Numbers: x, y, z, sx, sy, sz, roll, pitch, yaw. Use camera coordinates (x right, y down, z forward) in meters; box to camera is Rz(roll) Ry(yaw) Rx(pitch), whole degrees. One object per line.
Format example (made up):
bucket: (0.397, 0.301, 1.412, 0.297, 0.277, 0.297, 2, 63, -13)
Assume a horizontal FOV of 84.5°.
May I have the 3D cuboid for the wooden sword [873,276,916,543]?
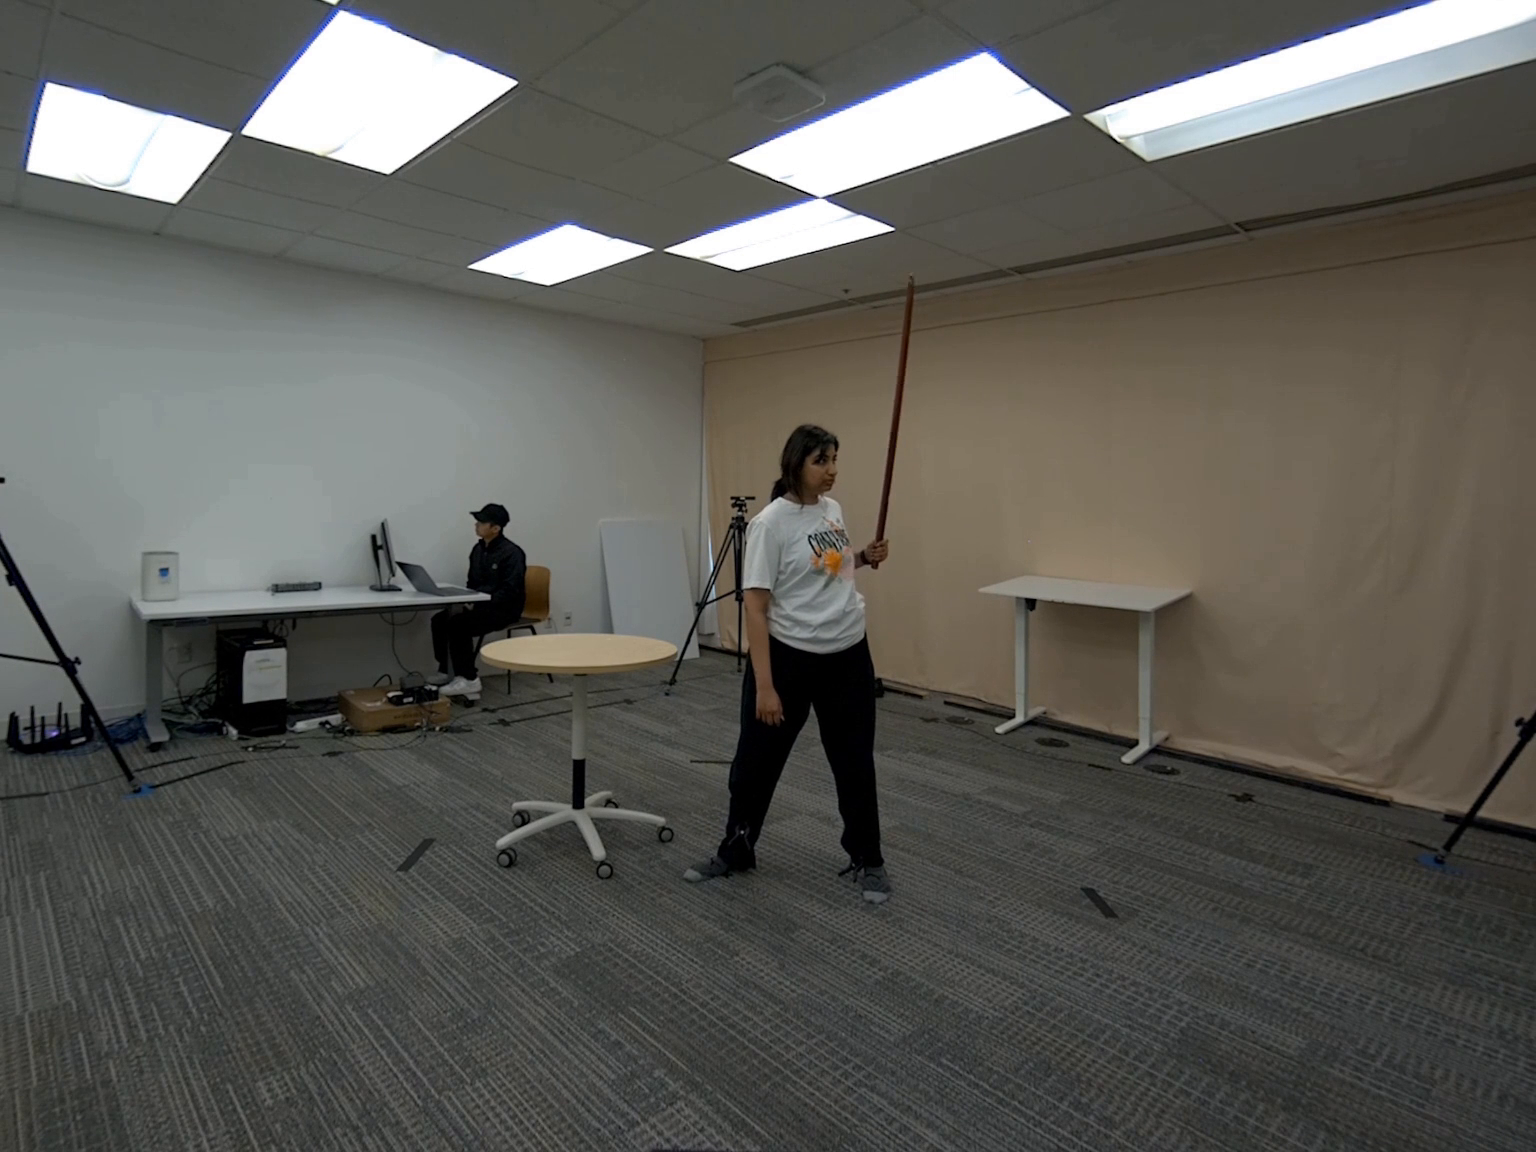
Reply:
wooden sword: (0.439, -0.481, 2.875, 0.024, 1.009, 0.052, 5, 24, 3)
